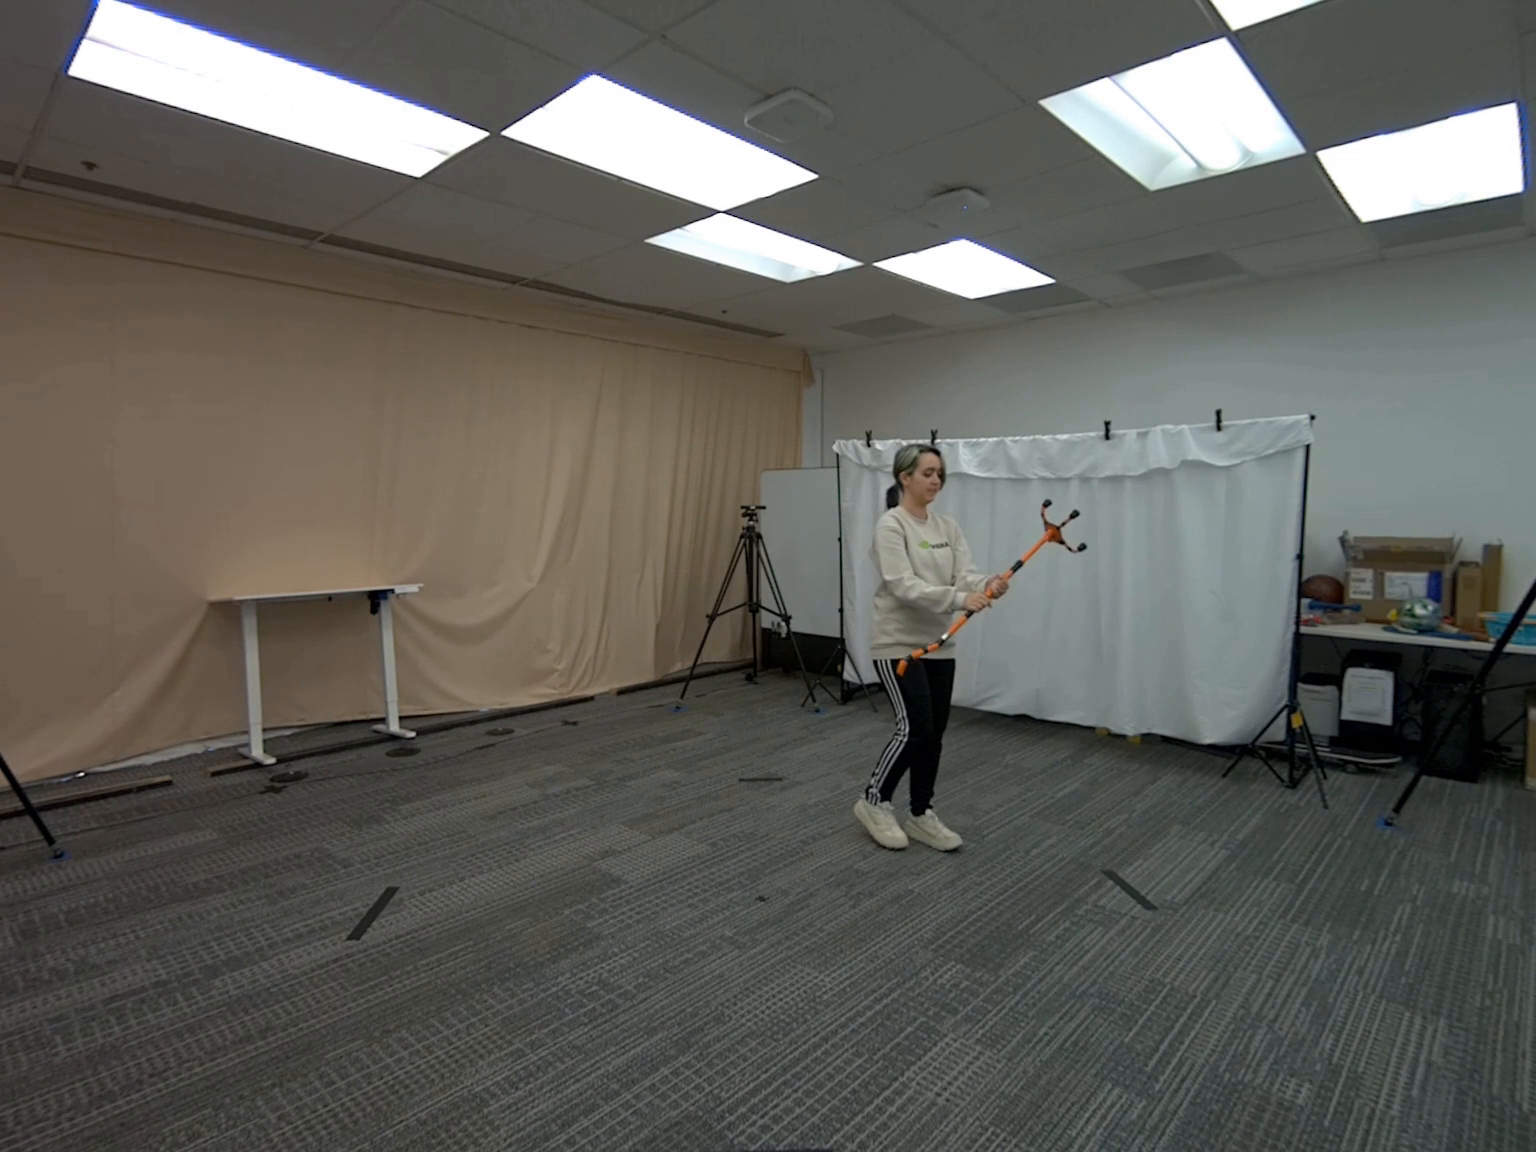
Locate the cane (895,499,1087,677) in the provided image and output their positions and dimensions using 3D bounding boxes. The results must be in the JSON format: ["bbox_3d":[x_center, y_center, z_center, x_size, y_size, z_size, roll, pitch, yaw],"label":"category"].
[{"bbox_3d":[0.795,0.097,3.084,0.903,0.200,0.157,-42,39,-12],"label":"cane"}]
